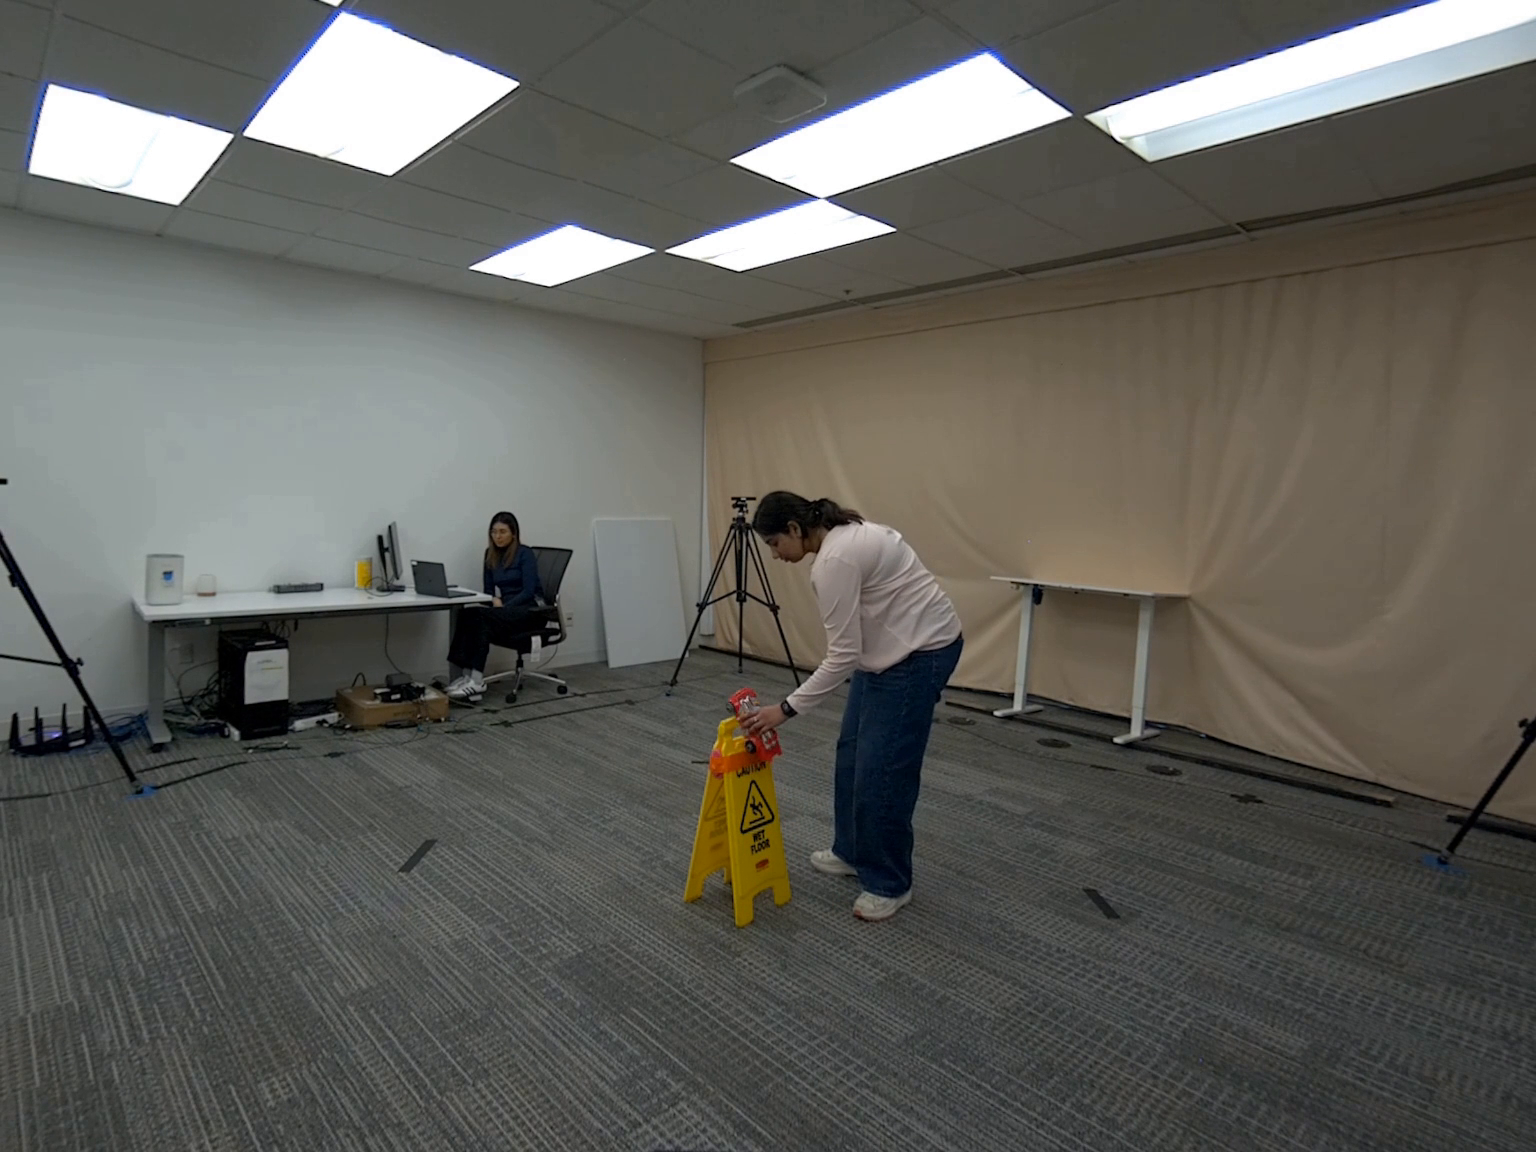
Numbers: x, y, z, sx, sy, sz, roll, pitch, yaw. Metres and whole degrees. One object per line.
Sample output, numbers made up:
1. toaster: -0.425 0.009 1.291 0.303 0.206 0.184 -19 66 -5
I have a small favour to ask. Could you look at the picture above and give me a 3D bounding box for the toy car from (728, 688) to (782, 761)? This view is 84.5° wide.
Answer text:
1. toy car: -0.042 0.508 2.846 0.128 0.258 0.083 -22 -19 -45
